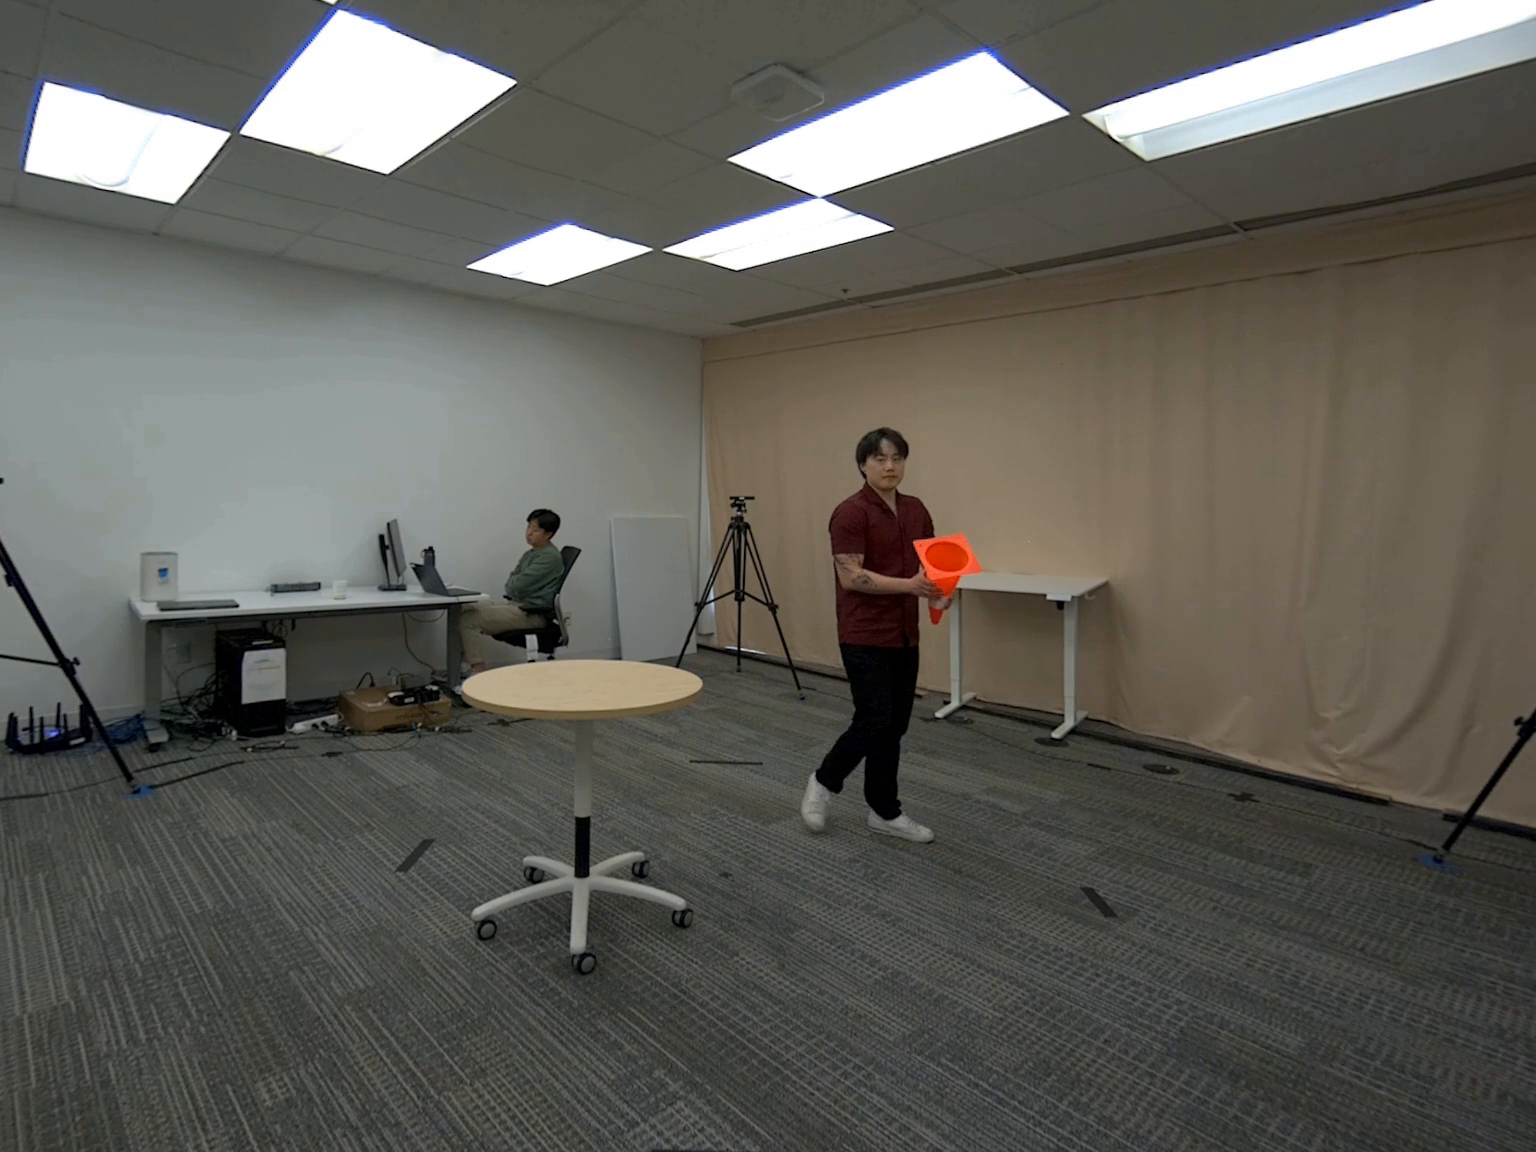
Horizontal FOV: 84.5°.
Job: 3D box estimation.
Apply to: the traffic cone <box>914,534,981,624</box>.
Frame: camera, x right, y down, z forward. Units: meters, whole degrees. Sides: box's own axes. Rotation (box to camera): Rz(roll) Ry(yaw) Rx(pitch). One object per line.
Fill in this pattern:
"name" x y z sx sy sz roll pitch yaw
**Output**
"traffic cone" 0.635 0.059 3.219 0.204 0.375 0.209 -6 46 -6
